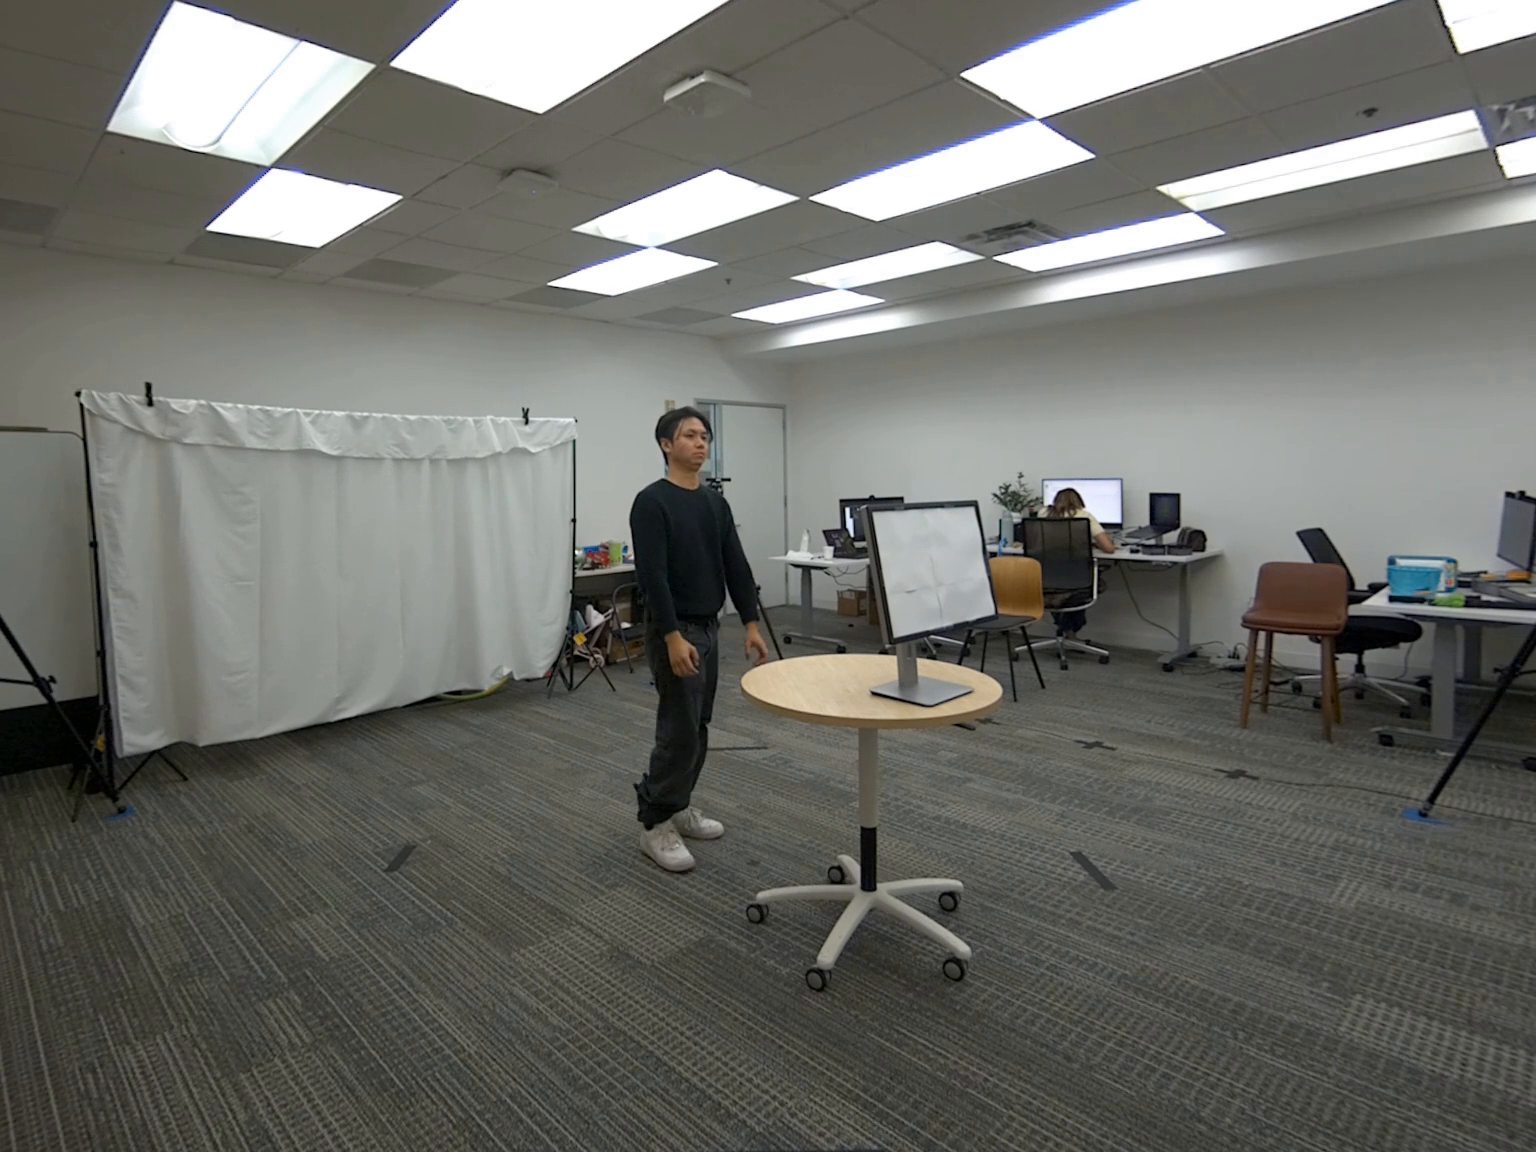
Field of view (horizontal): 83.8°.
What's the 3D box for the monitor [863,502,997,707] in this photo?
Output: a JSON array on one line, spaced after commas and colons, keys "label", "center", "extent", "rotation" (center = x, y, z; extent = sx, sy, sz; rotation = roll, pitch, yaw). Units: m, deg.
[{"label": "monitor", "center": [0.450, 0.067, 2.405], "extent": [0.180, 0.513, 0.515], "rotation": [9, 9, 42]}]
